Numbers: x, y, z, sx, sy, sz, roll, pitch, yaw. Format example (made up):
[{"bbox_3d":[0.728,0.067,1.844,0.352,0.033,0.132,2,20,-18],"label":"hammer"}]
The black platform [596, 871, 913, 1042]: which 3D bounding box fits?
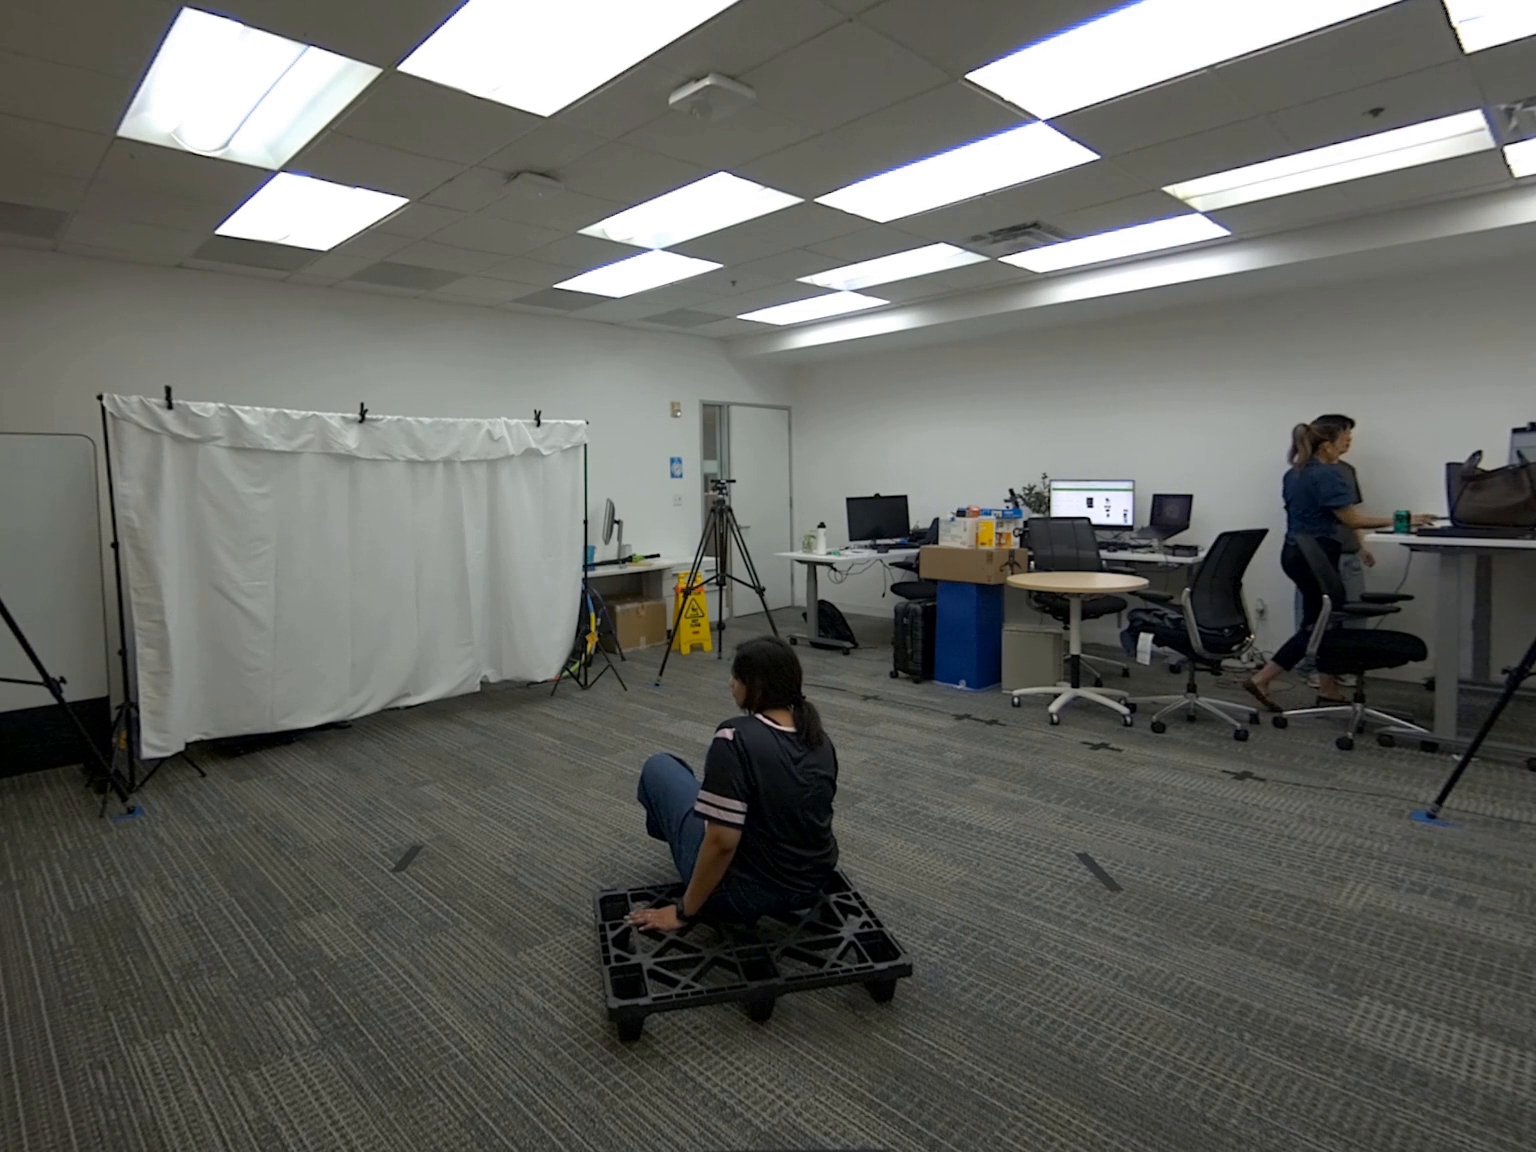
[{"bbox_3d":[-0.080,1.059,2.433,0.796,0.143,0.615,-2,6,-12],"label":"black platform"}]
